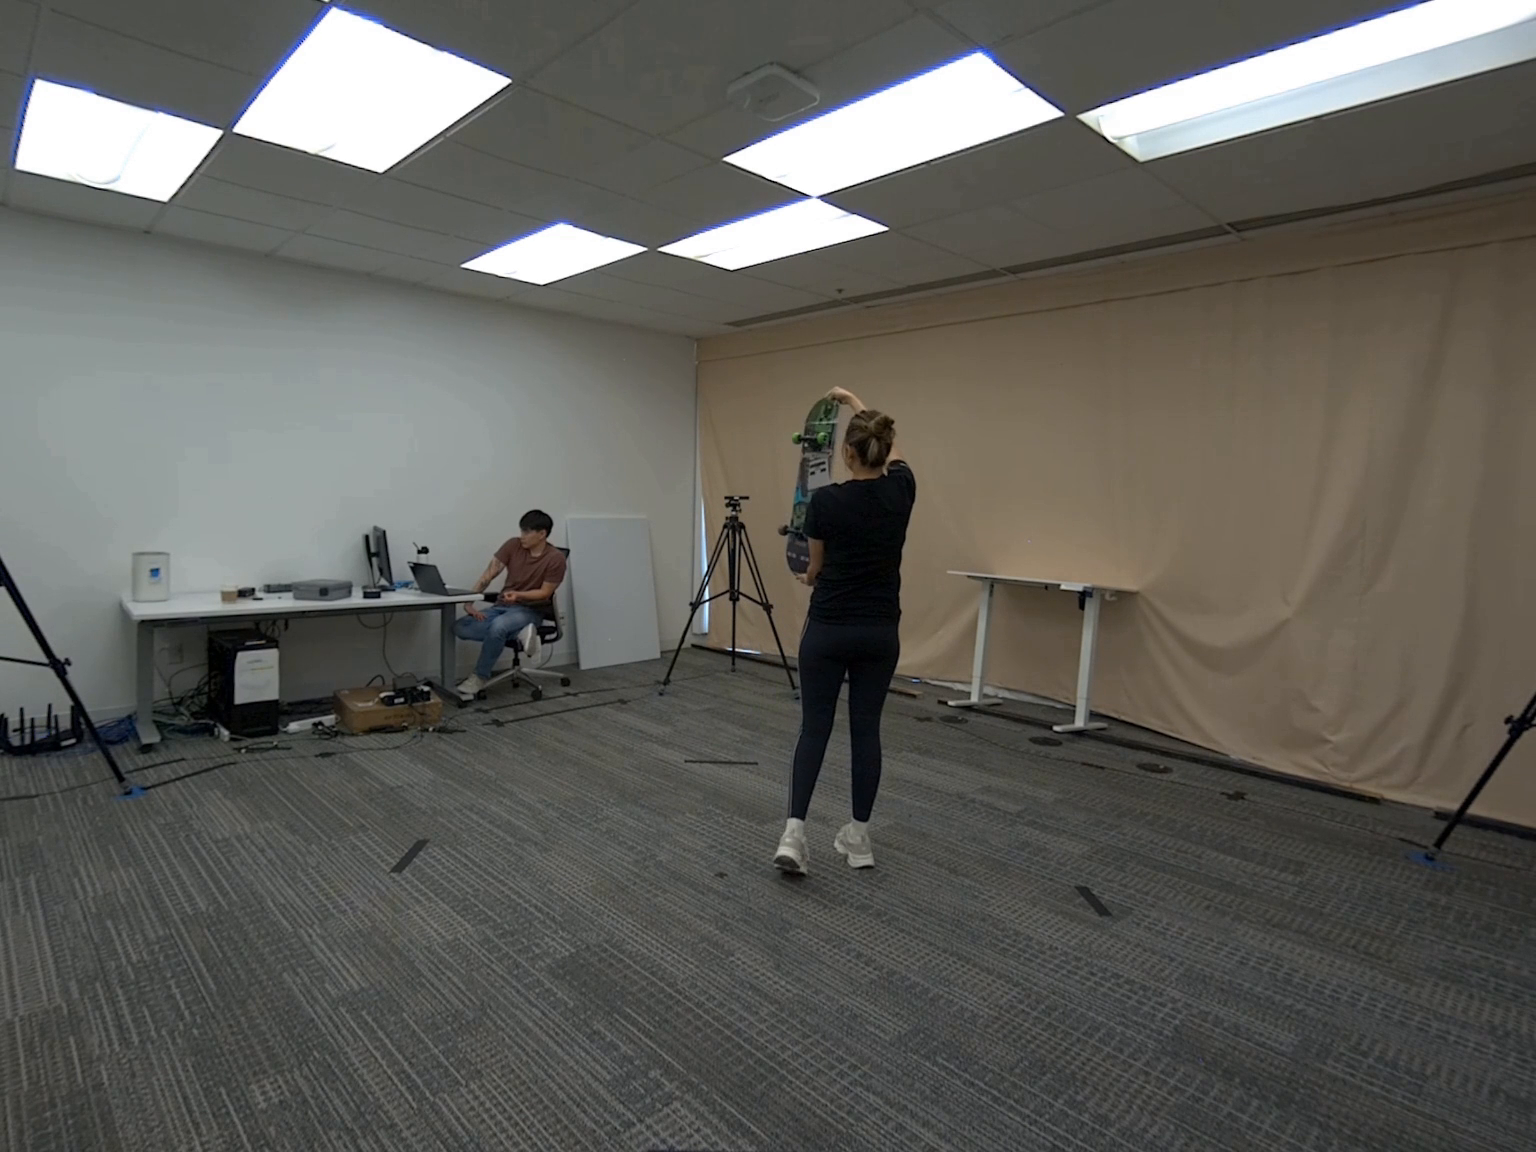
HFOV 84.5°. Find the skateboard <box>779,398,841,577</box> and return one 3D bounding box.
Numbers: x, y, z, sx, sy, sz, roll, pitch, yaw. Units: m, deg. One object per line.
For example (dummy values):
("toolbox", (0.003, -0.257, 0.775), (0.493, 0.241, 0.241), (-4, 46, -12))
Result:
("skateboard", (0.164, -0.378, 3.576), (0.107, 0.785, 0.198), (7, 1, -42))
